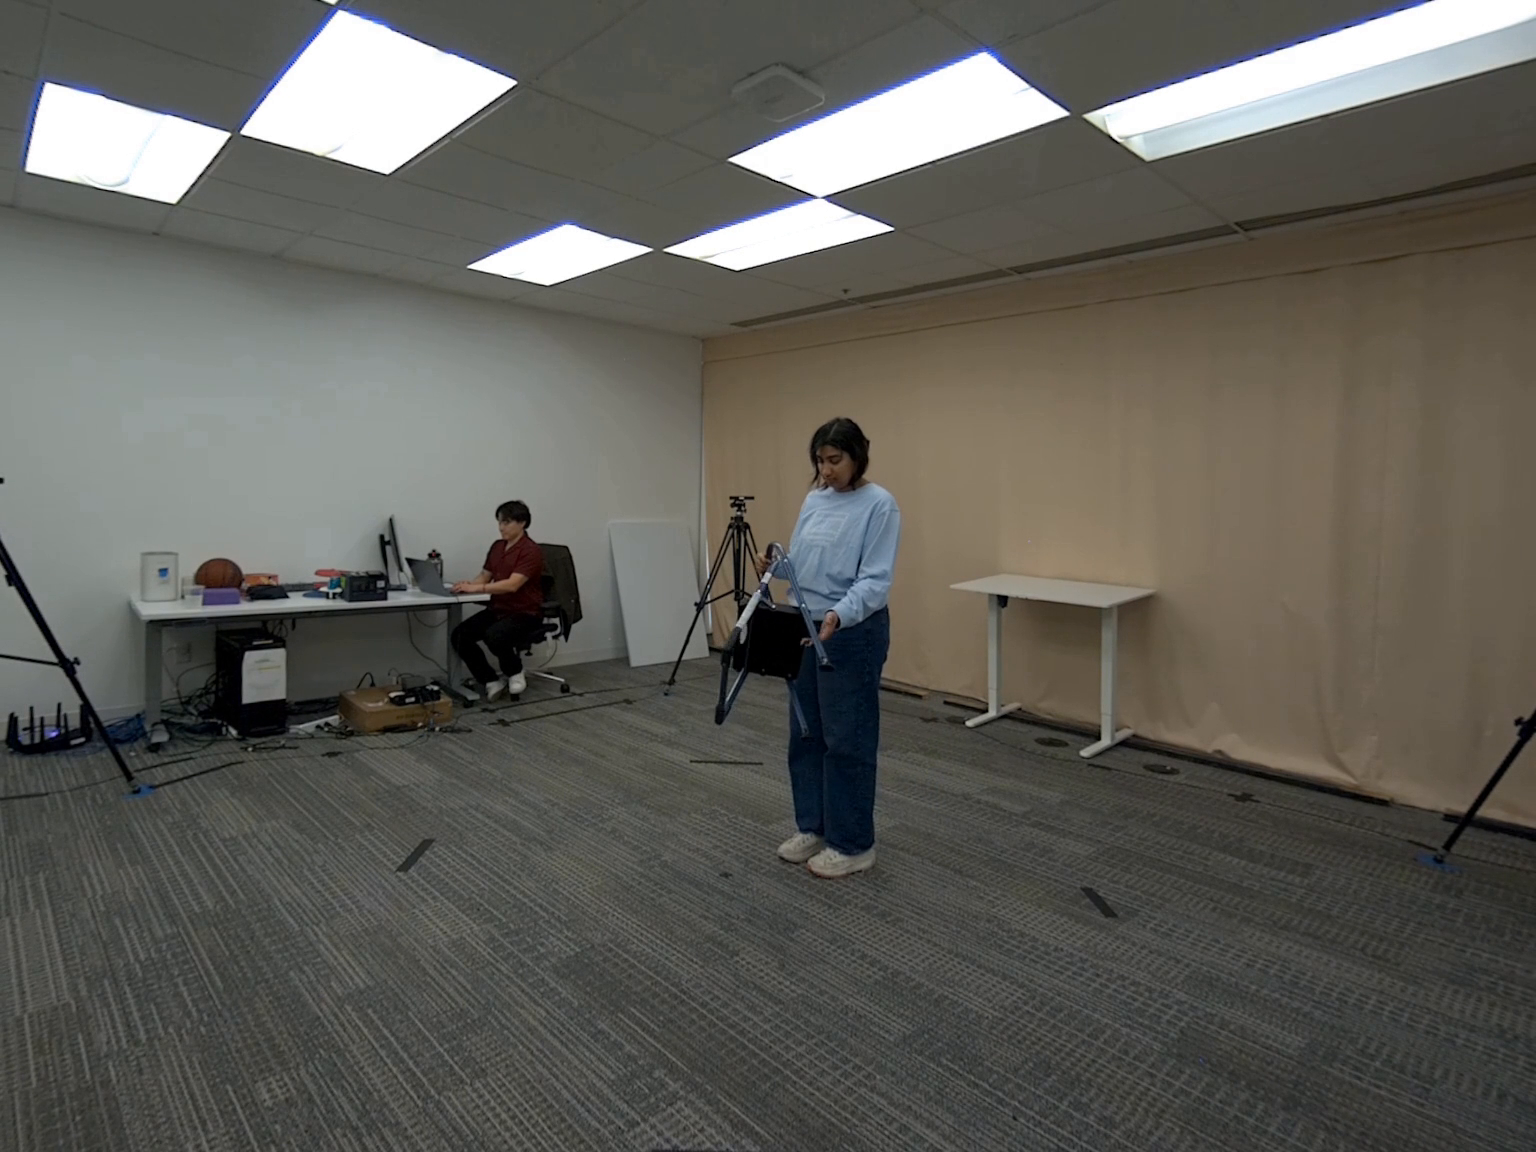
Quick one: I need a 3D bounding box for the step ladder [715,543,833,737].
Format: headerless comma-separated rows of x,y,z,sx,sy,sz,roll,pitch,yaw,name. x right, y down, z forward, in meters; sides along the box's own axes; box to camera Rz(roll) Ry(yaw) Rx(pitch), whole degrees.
0.036,0.189,2.963,0.349,0.423,0.617,8,45,-1,step ladder
